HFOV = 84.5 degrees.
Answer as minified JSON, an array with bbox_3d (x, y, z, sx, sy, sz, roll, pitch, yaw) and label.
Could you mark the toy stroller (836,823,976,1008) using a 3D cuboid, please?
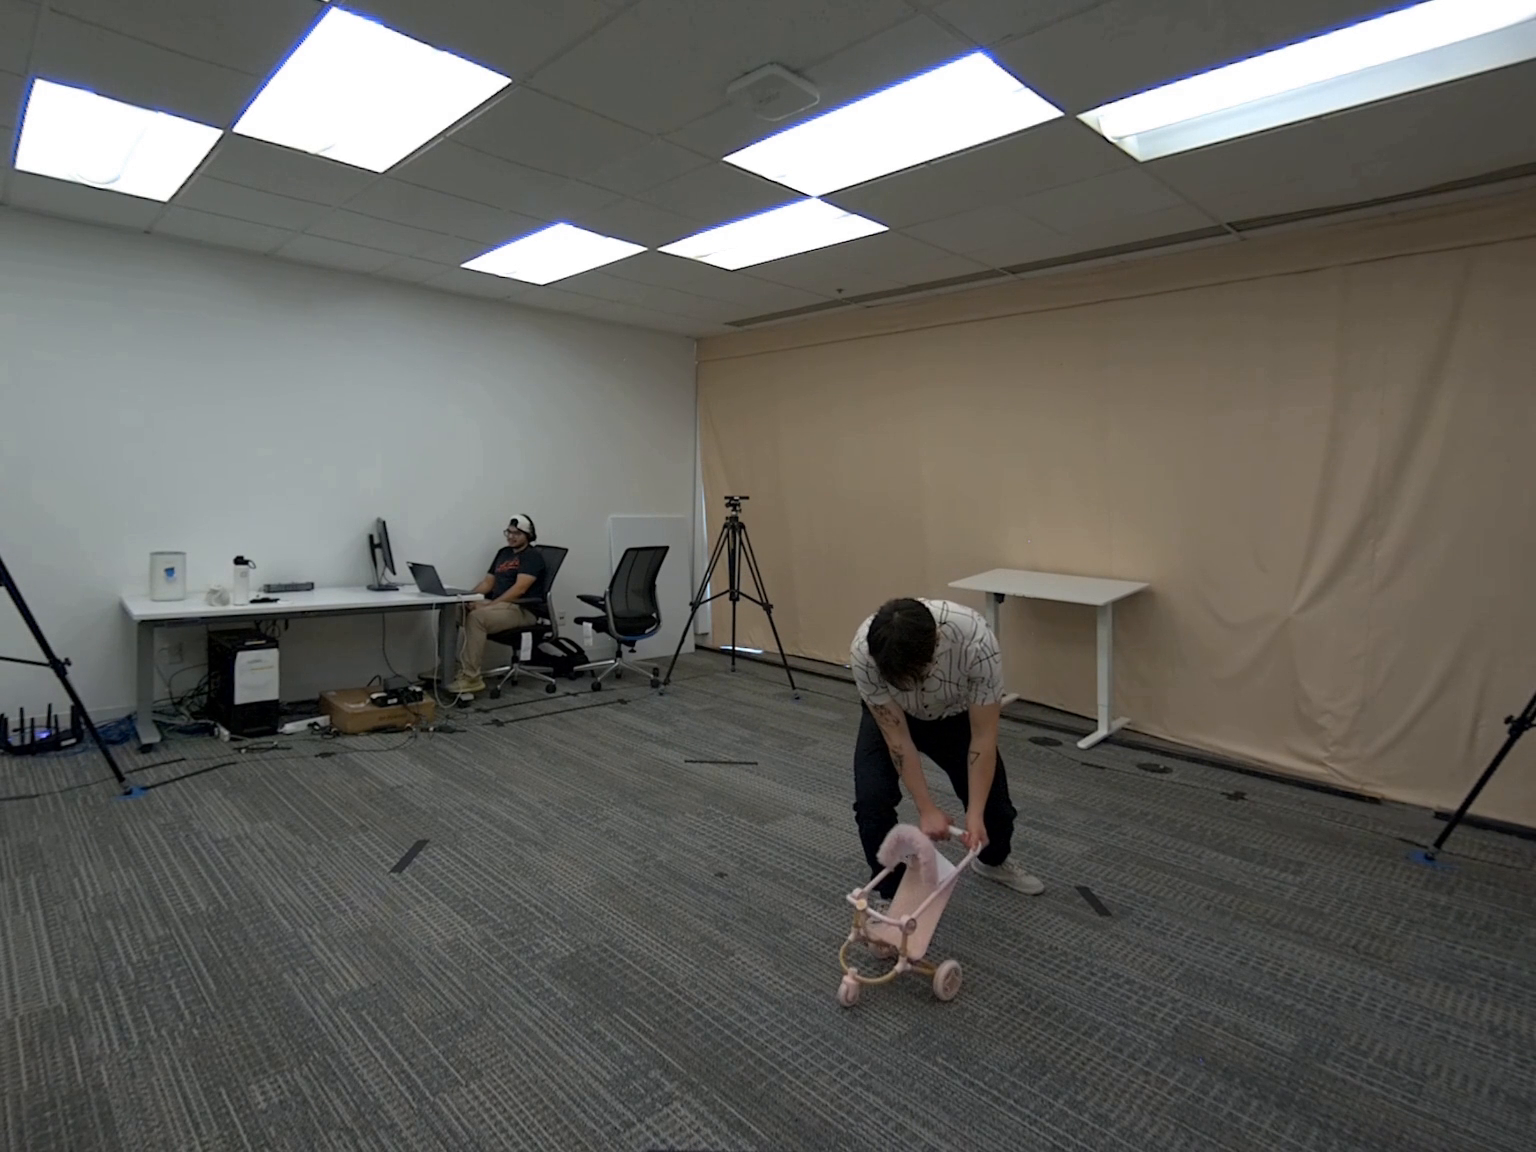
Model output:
[{"bbox_3d":[0.379,0.960,2.422,0.332,0.537,0.288,21,-8,-31],"label":"toy stroller"}]
